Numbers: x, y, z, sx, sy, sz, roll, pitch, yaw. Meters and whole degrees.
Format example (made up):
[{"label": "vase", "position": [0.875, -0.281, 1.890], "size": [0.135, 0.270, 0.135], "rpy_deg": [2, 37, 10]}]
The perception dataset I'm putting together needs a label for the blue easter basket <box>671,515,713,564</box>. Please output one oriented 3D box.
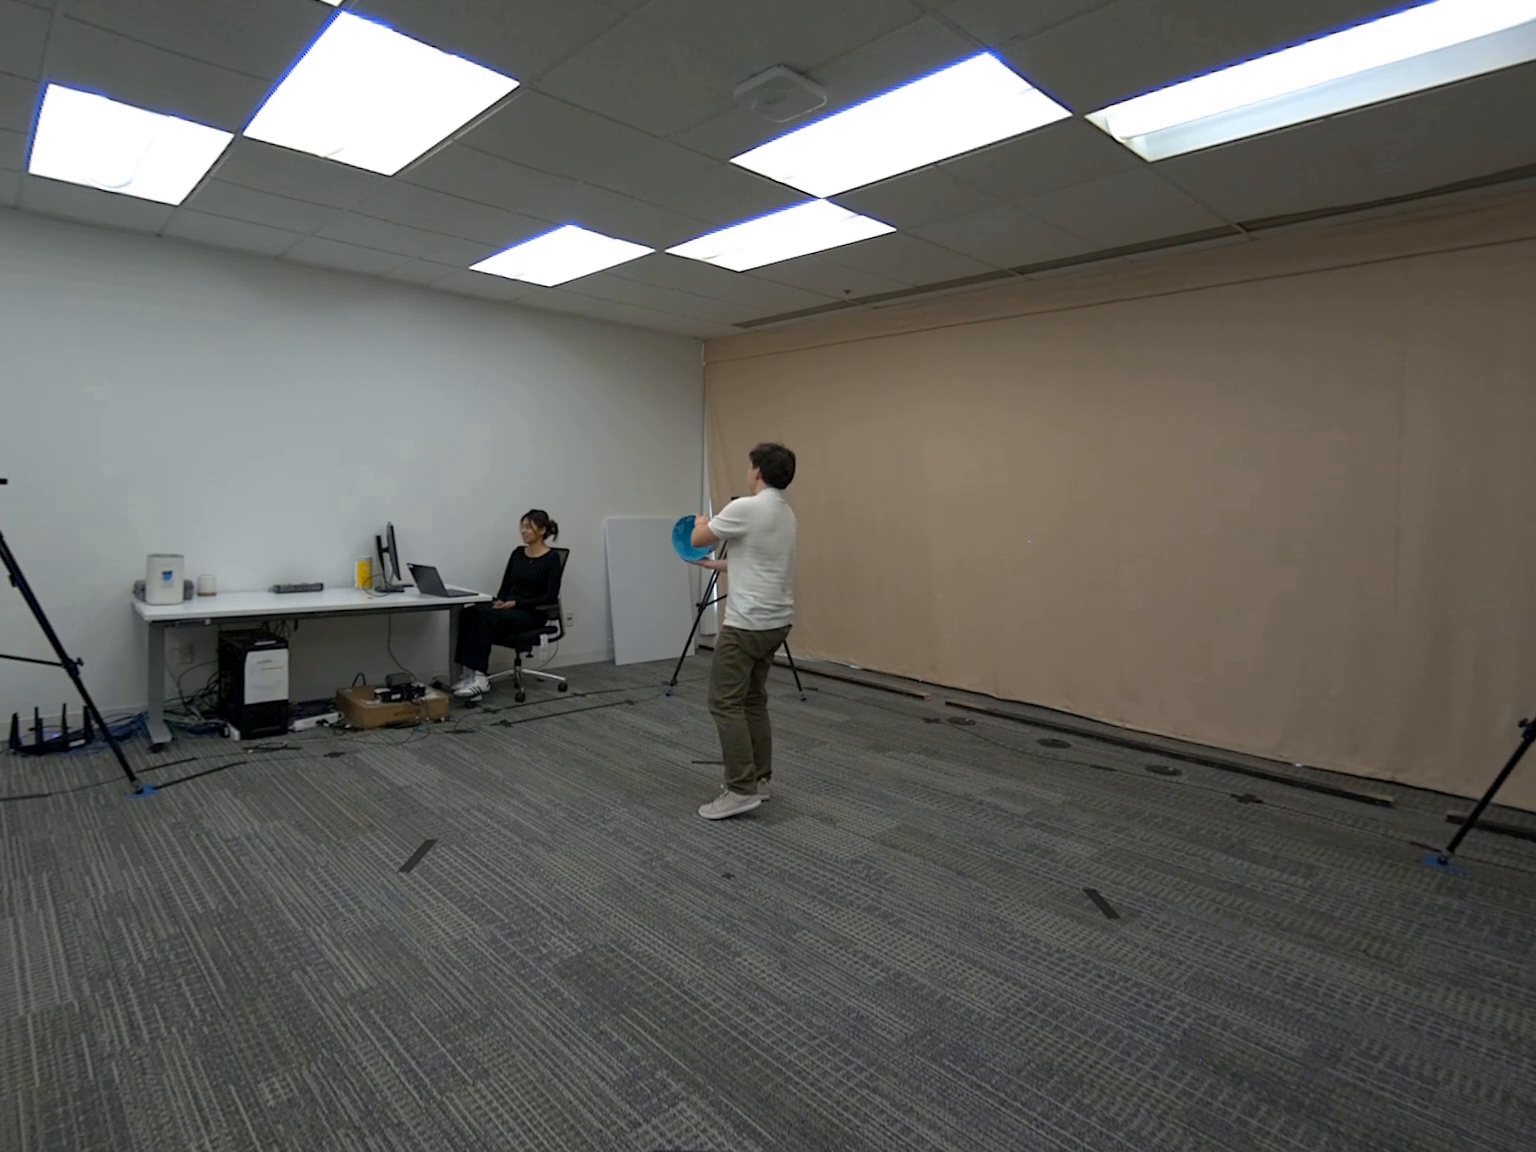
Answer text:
[{"label": "blue easter basket", "position": [-0.361, -0.195, 4.290], "size": [0.248, 0.243, 0.153], "rpy_deg": [3, 2, 22]}]
